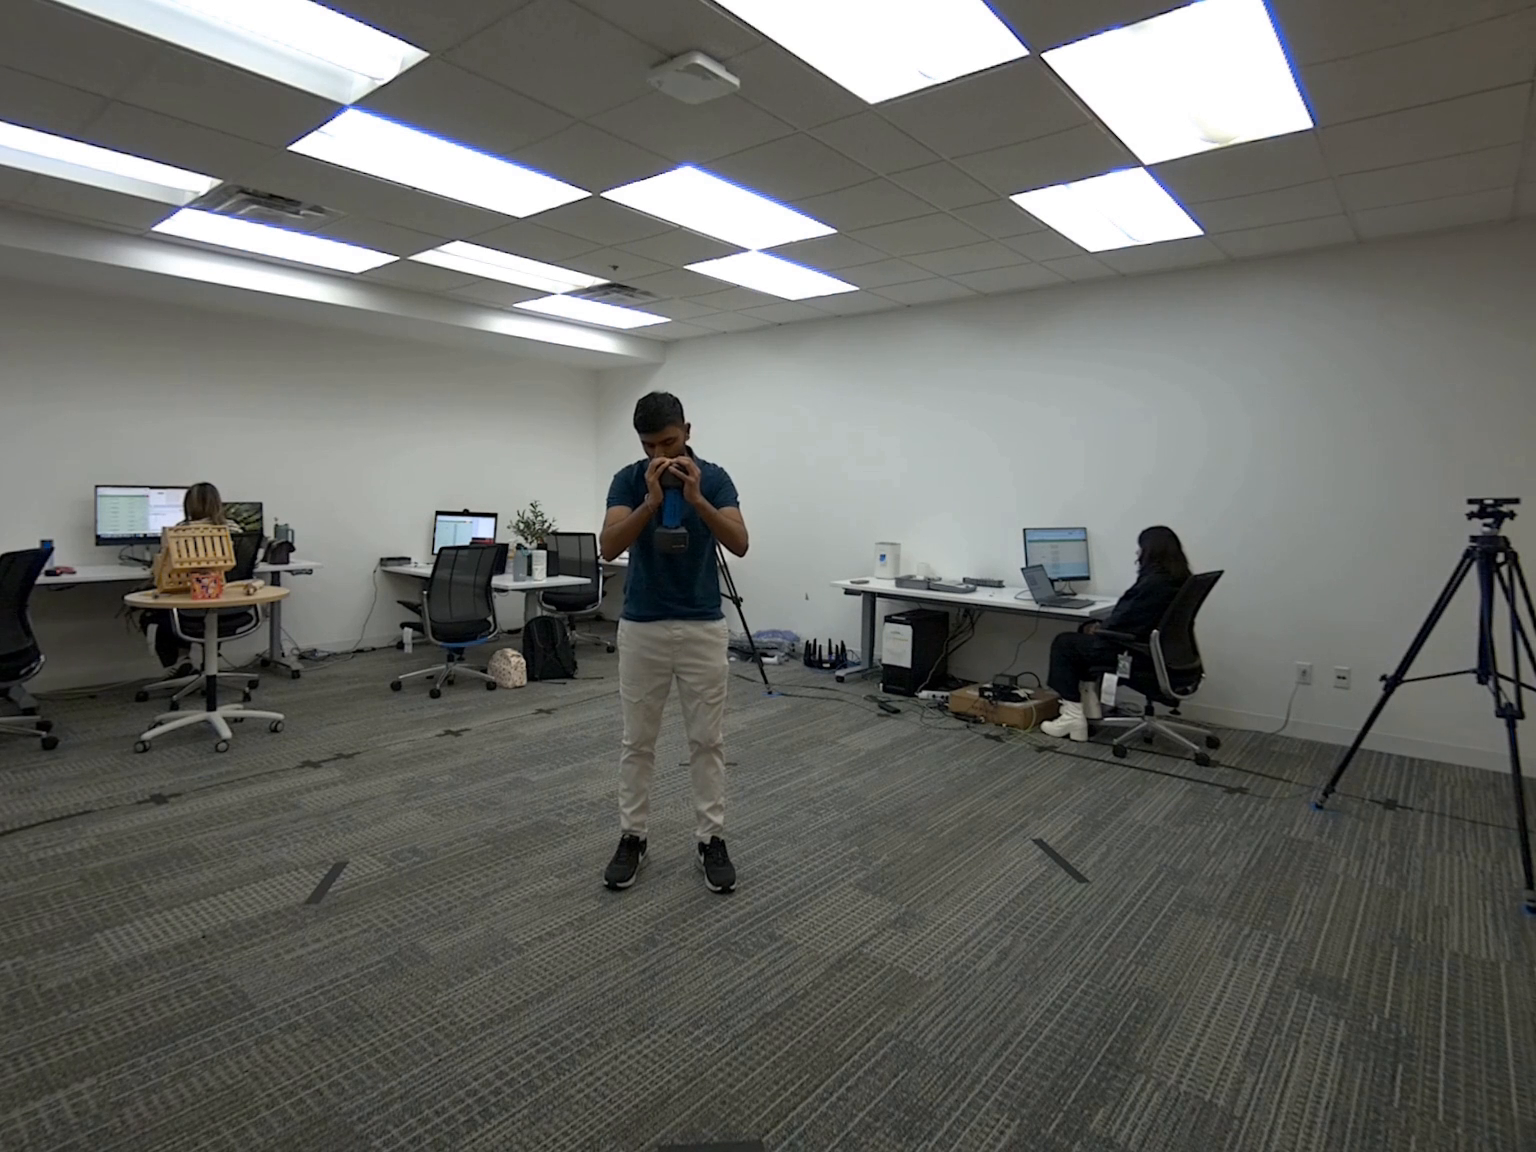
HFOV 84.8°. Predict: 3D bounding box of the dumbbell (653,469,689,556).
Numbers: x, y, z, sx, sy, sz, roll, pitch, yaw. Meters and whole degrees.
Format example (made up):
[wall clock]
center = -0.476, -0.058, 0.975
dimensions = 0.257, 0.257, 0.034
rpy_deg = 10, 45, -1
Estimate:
[dumbbell]
center = -0.324, -0.226, 2.773
dimensions = 0.107, 0.291, 0.125
rpy_deg = 1, 9, -11
